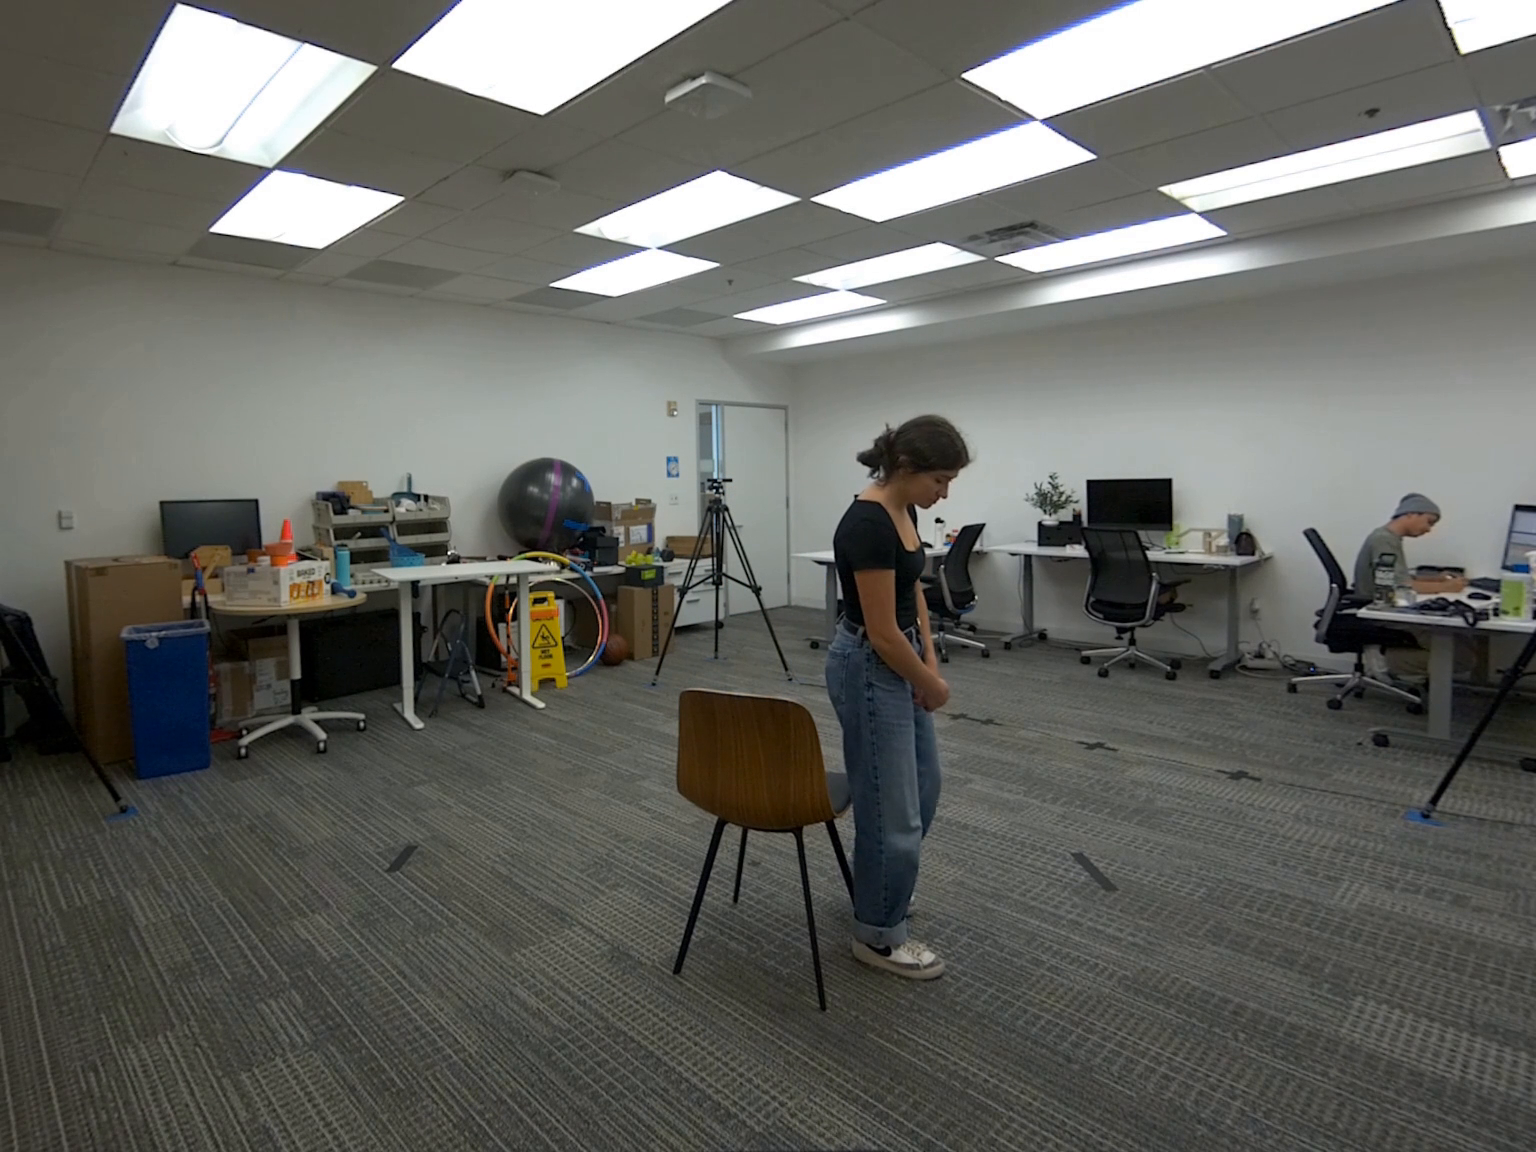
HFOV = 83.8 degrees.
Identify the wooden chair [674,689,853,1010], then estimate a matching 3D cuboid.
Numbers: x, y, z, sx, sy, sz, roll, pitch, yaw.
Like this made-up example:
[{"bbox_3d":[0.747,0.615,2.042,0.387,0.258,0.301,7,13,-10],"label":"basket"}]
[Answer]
[{"bbox_3d":[0.015,0.683,2.511,0.488,0.870,0.516,1,9,22],"label":"wooden chair"}]
